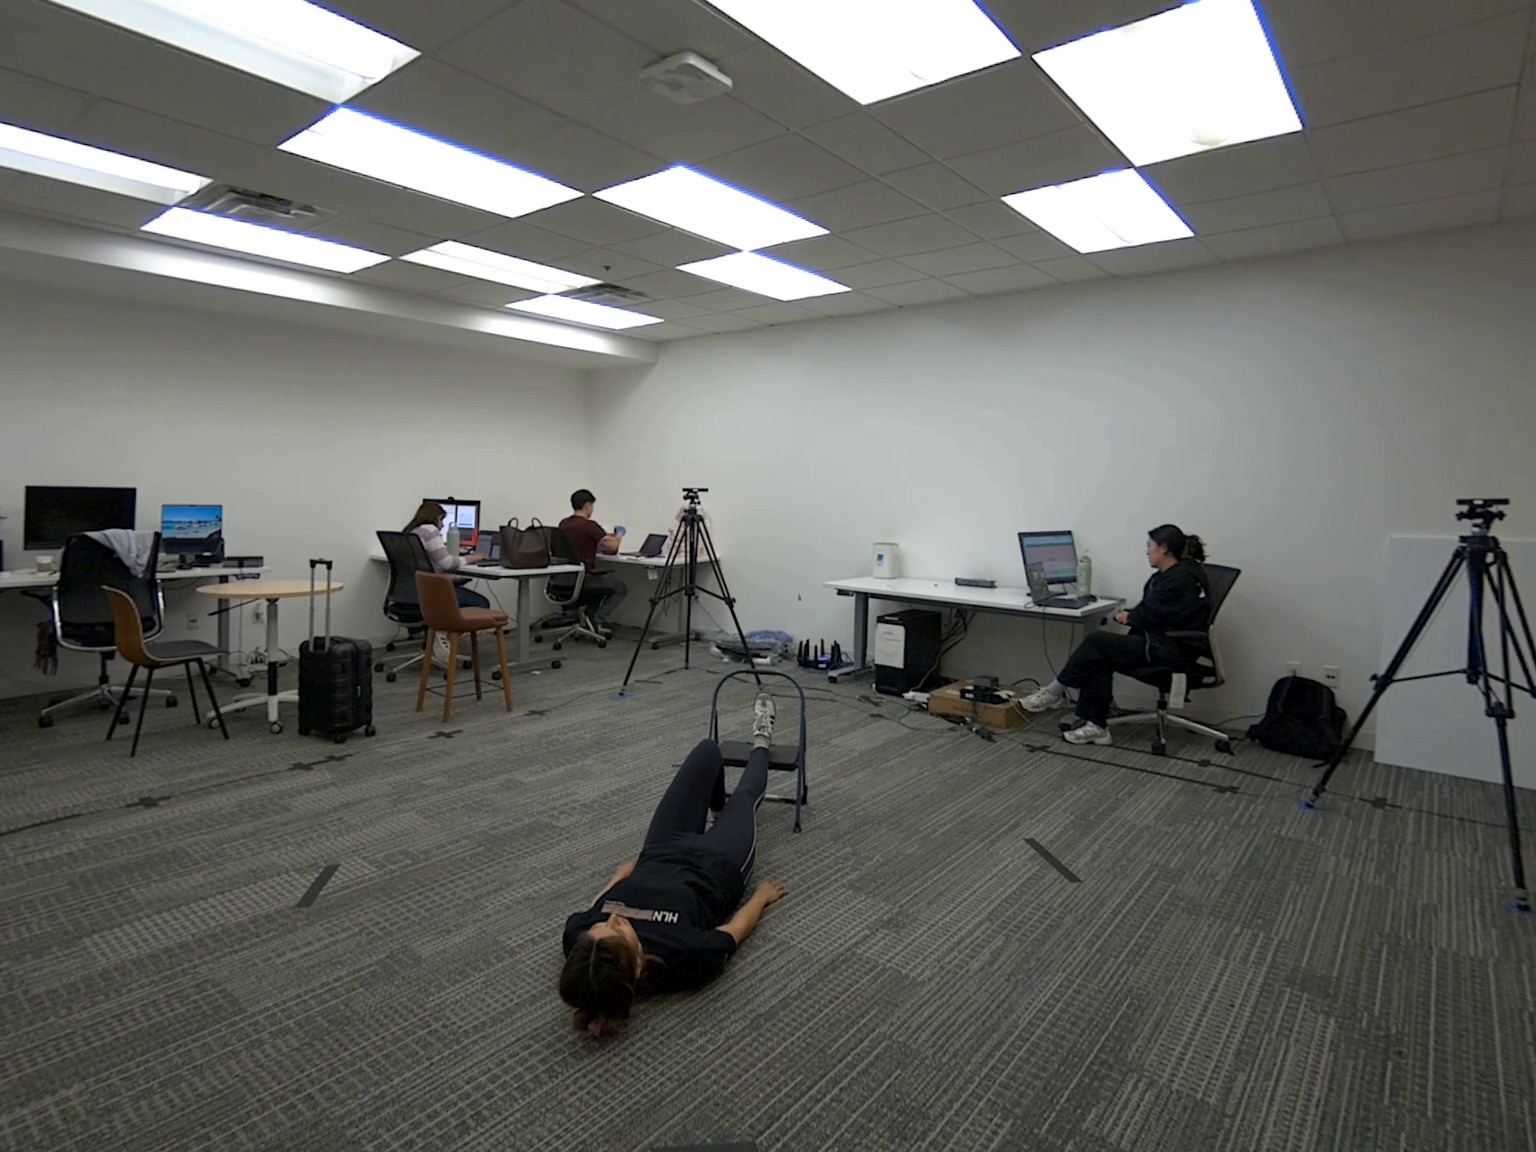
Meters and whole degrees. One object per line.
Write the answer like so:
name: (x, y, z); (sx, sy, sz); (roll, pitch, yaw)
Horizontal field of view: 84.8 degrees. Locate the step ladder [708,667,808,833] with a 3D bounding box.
step ladder: (-0.051, 0.717, 3.663); (0.436, 0.604, 0.346); (2, 3, 10)
